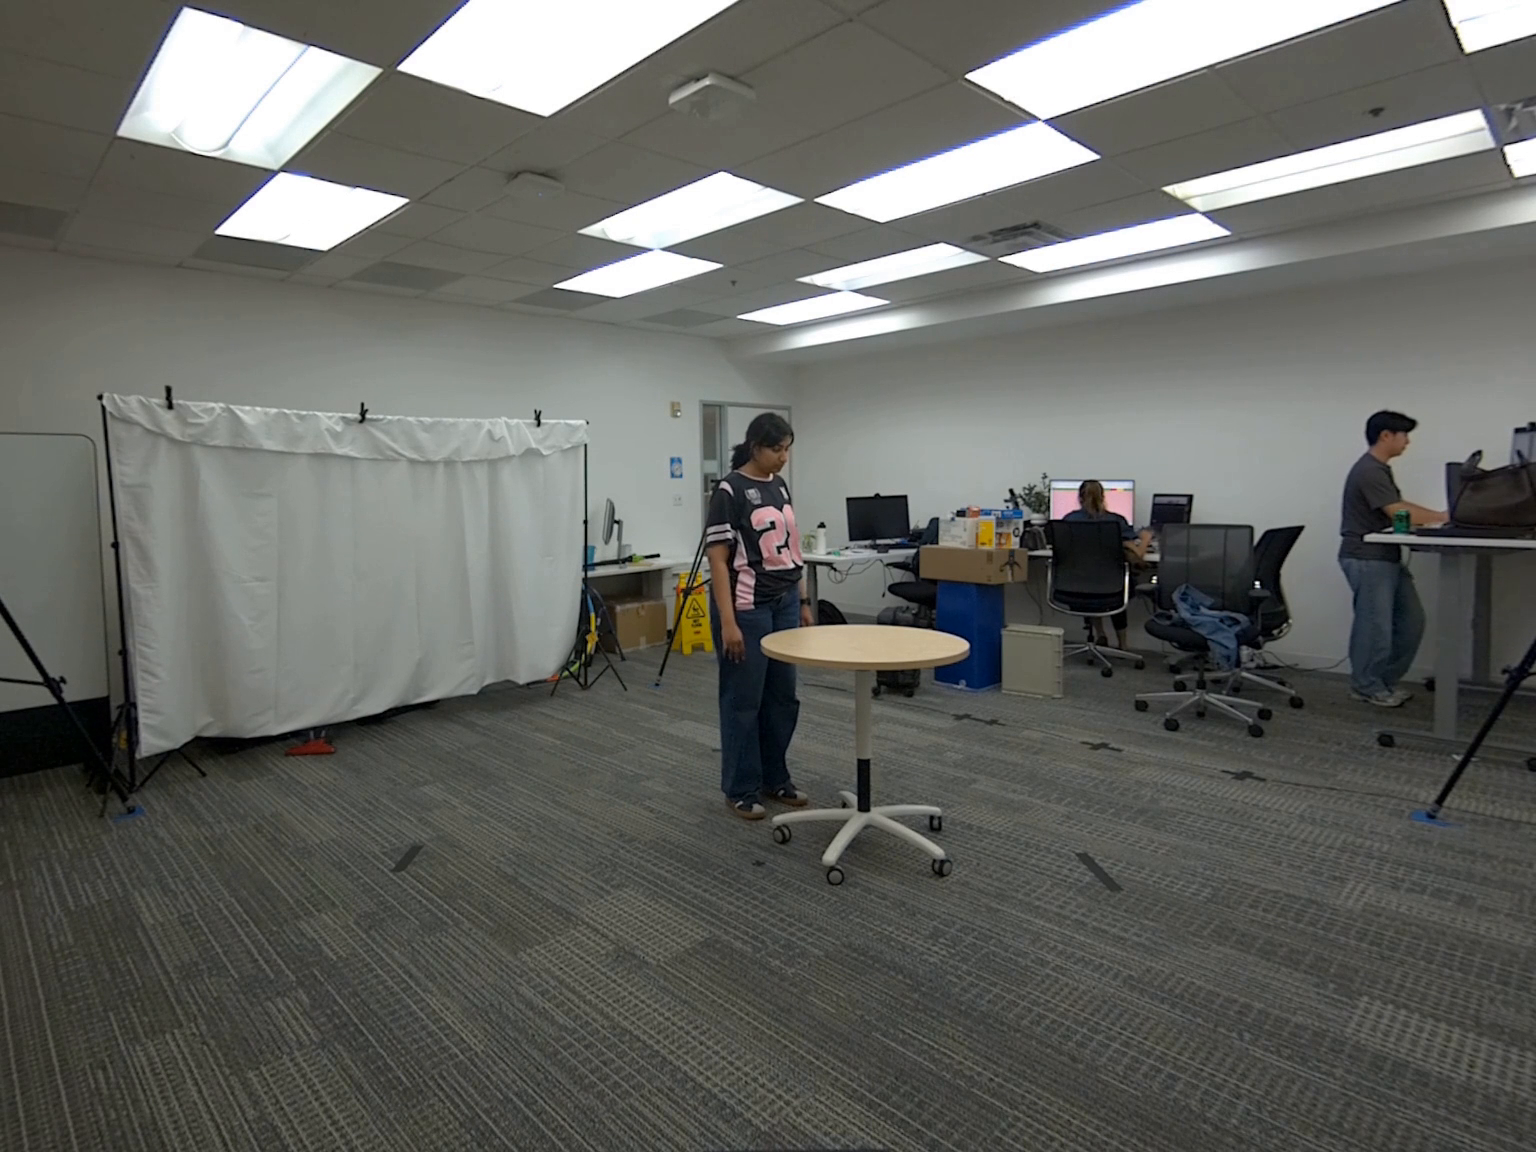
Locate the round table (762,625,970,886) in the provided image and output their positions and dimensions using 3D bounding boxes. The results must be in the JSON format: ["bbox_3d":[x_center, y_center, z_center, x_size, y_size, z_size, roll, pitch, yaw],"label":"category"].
[{"bbox_3d":[0.366,0.634,3.225,0.784,0.783,0.789,-1,5,-2],"label":"round table"}]
